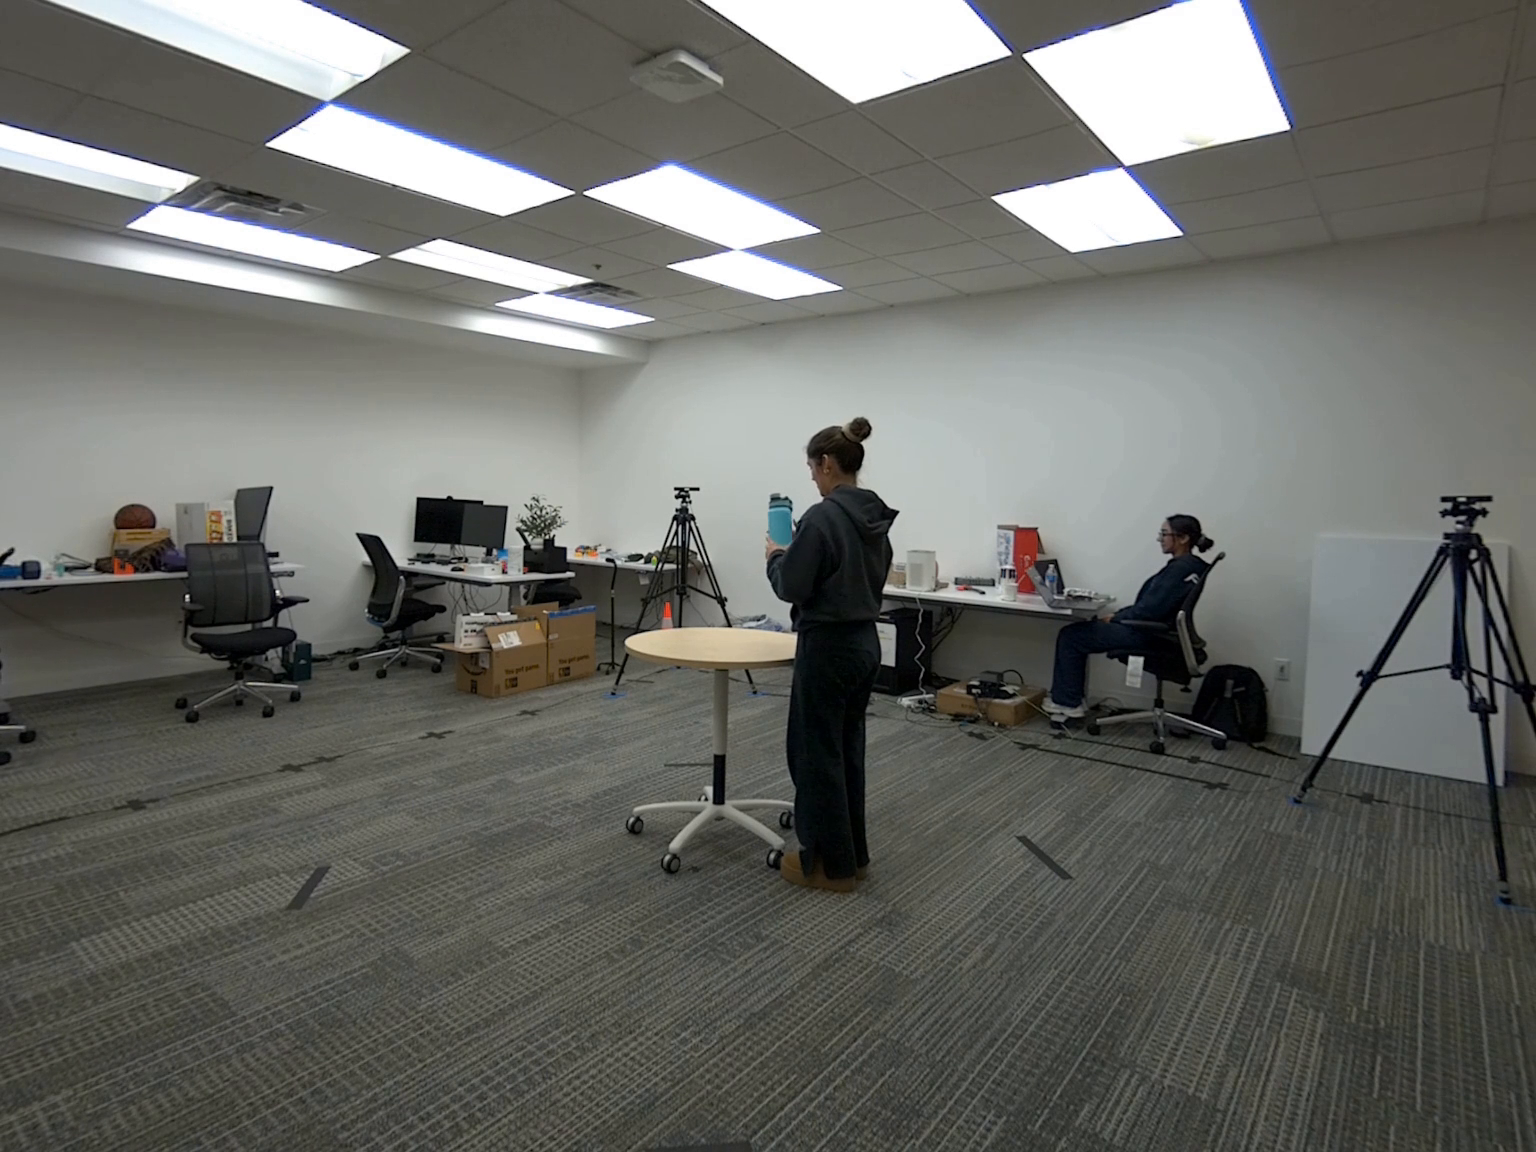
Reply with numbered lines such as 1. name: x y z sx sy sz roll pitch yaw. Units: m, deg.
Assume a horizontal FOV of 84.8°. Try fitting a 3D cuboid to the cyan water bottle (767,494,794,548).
1. cyan water bottle: 0.055 -0.156 3.200 0.092 0.285 0.092 0 -6 -2
